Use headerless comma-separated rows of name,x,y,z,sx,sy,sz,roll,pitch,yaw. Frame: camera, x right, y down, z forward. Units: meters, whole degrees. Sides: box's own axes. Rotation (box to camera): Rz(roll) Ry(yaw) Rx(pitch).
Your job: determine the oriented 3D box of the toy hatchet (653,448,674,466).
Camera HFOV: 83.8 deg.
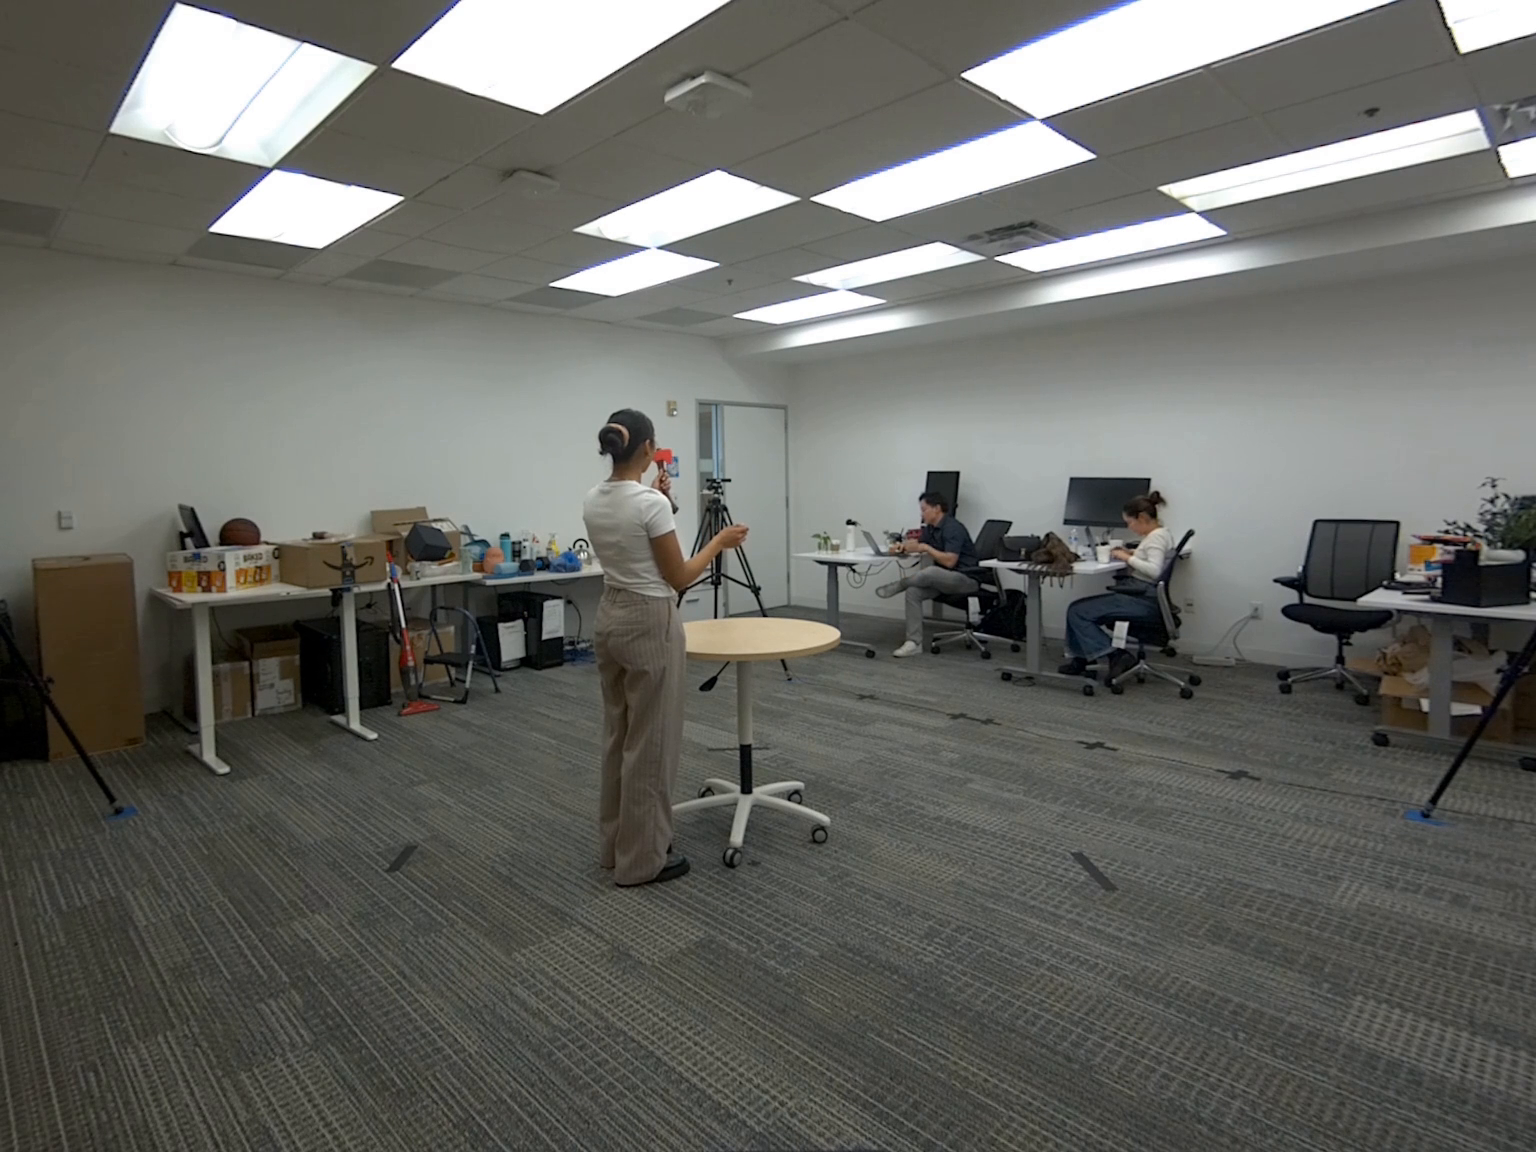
toy hatchet,-0.387,-0.382,3.303,0.132,0.277,0.029,-38,-26,29
